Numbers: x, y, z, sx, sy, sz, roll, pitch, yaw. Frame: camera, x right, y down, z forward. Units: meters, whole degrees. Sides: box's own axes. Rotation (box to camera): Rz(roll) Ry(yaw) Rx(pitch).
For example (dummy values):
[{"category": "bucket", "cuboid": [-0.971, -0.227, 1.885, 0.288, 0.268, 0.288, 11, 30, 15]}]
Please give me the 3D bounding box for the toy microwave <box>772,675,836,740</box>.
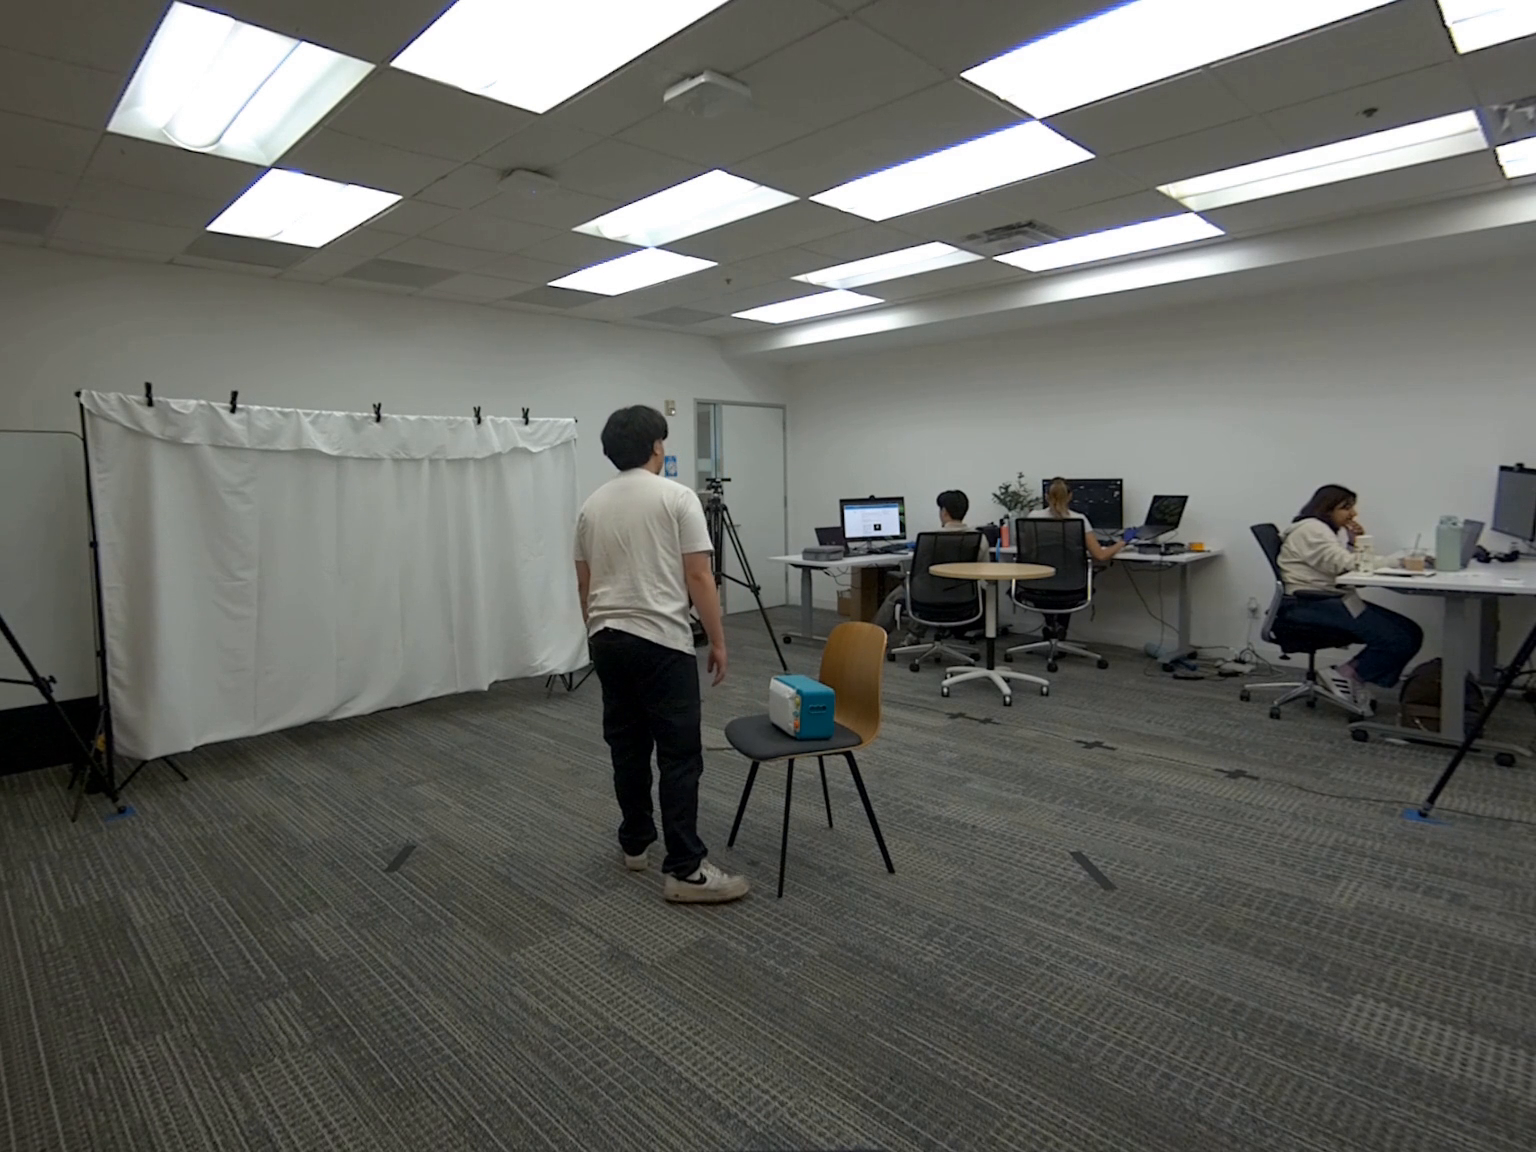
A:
[{"category": "toy microwave", "cuboid": [0.113, 0.465, 3.073, 0.149, 0.183, 0.293, 1, 5, -22]}]
